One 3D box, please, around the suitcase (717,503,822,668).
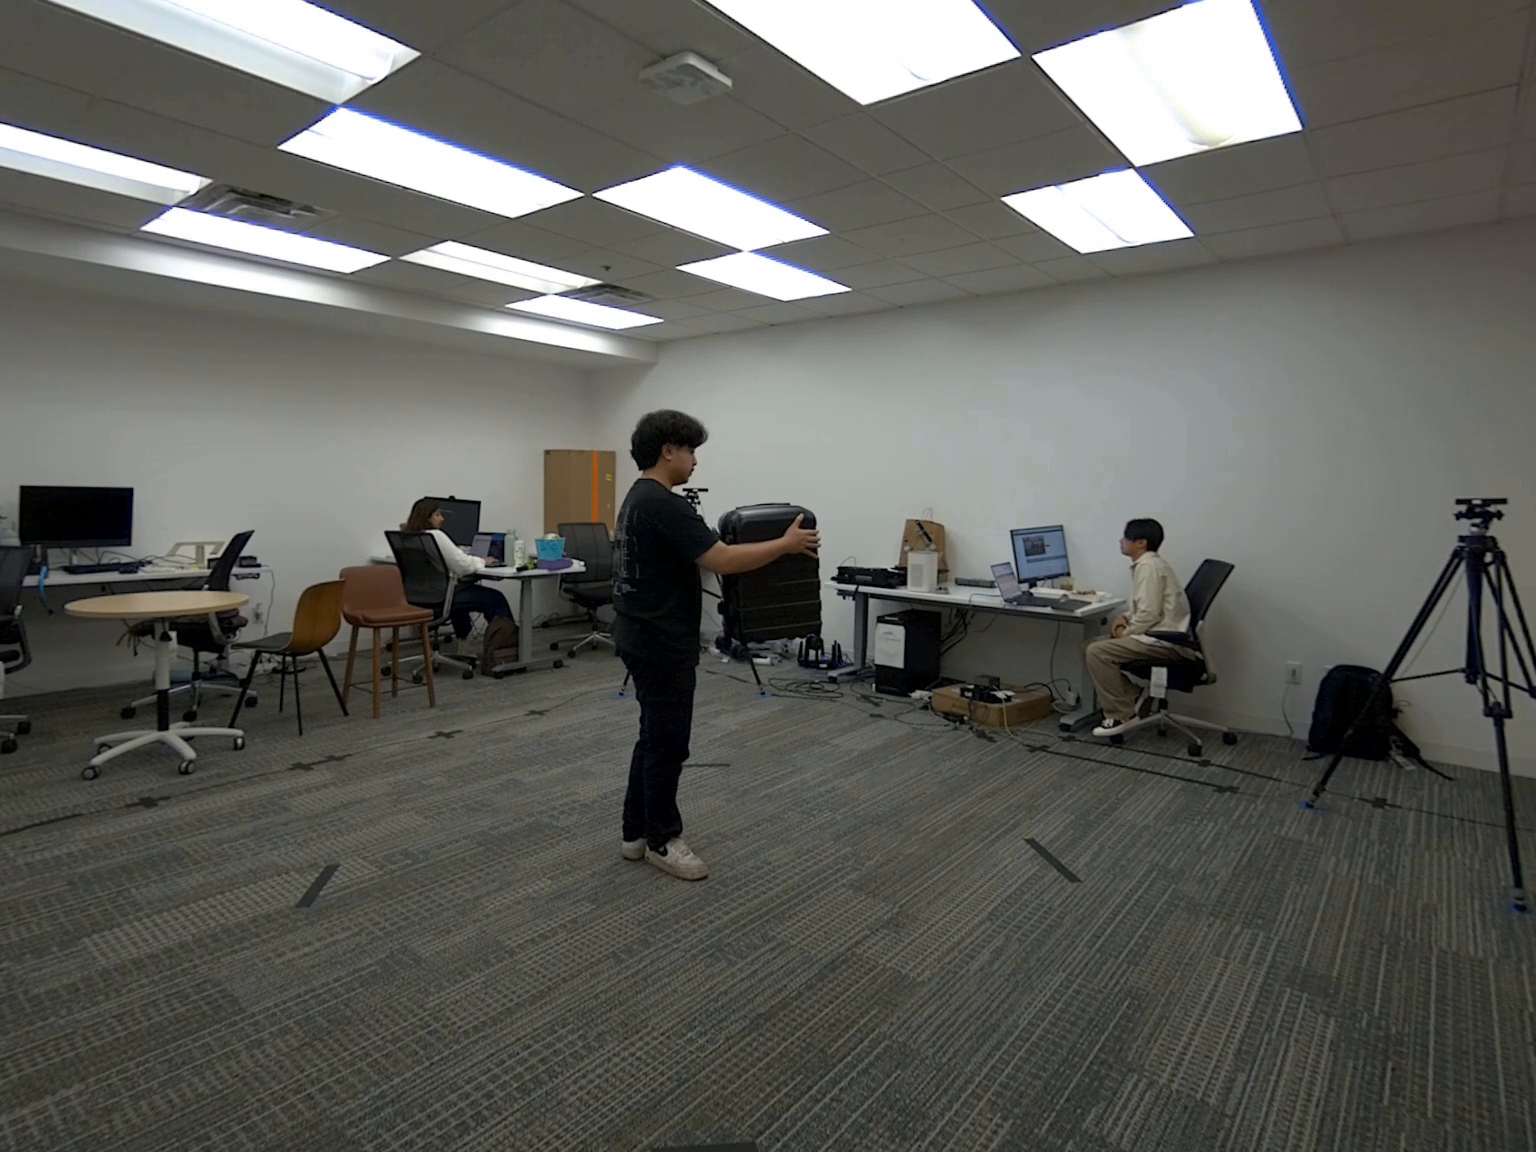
[{"bbox_3d":[-0.005,0.001,3.231,0.369,0.546,0.254,-5,6,-19],"label":"suitcase"}]
